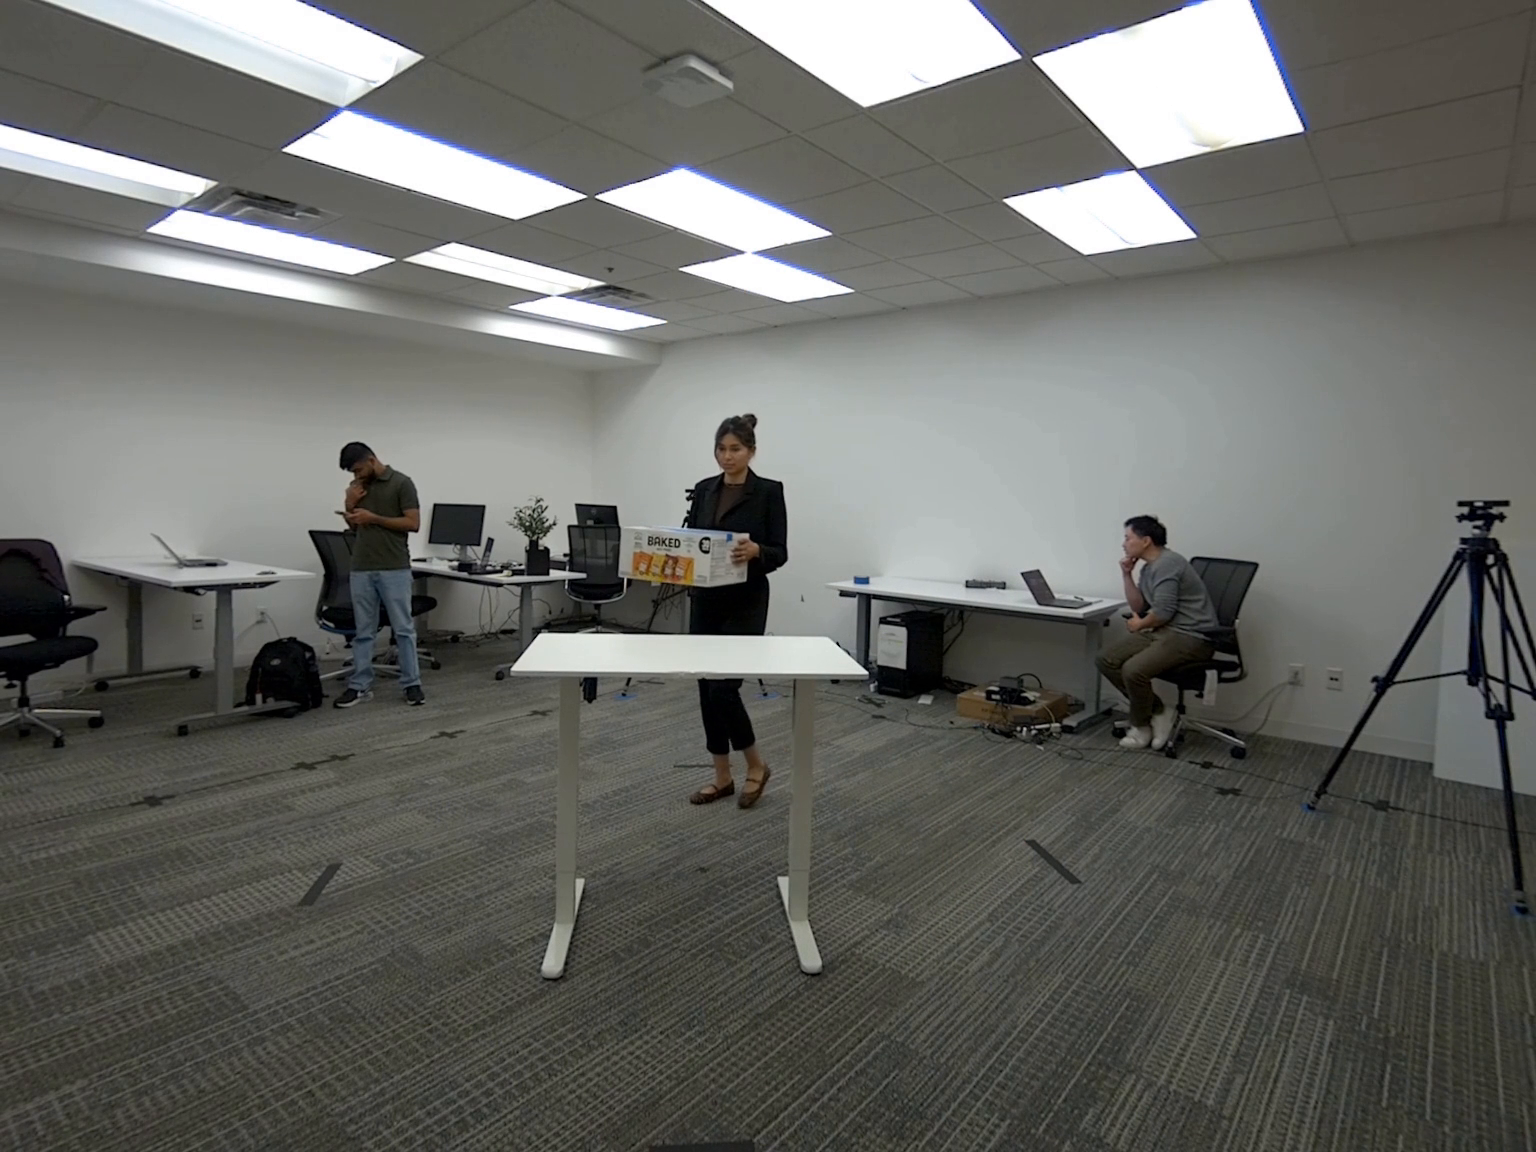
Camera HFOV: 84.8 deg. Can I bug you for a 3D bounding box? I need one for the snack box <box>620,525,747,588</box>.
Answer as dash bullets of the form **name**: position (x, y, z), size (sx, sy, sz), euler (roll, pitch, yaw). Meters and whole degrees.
- **snack box**: position (-0.339, -0.087, 3.445), size (0.416, 0.205, 0.333), euler (6, 6, 24)
